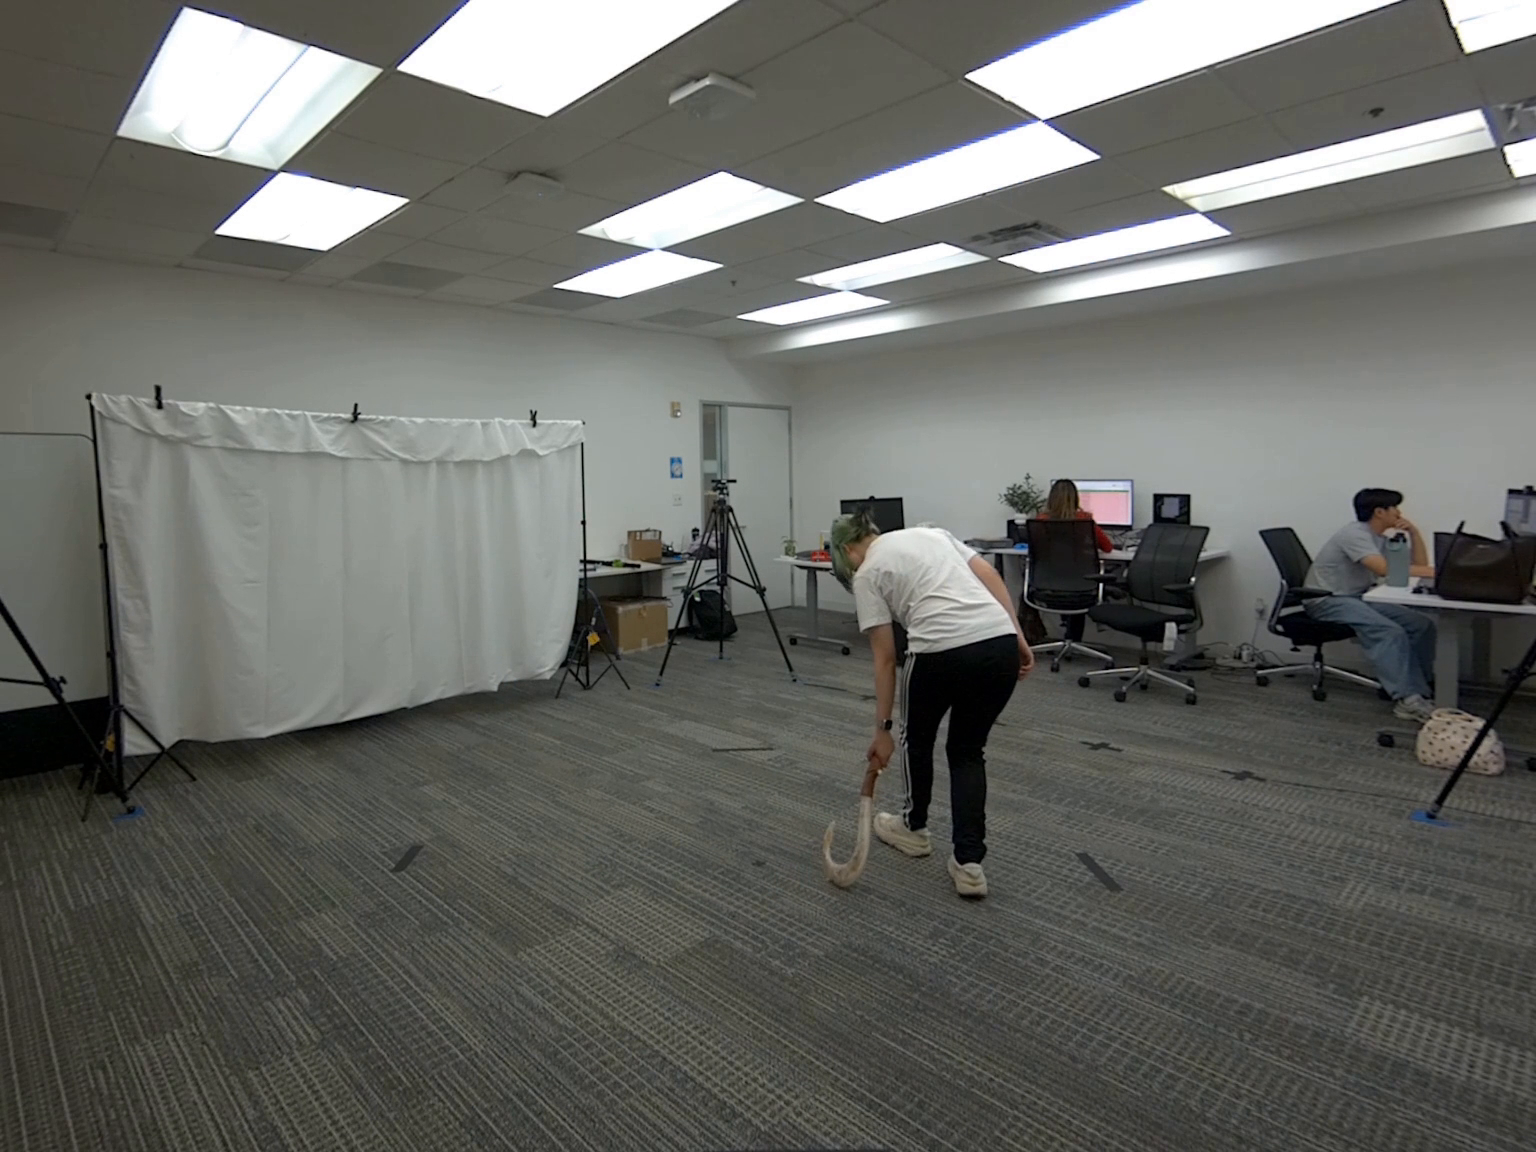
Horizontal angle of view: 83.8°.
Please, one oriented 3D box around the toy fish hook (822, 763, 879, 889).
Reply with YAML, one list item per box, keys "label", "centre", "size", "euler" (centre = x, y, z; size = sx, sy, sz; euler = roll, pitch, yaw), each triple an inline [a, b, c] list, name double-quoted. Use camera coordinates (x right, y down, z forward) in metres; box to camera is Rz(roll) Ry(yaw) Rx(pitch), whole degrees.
- label: "toy fish hook"
  centre: [0.304, 0.822, 2.999]
  size: [0.047, 0.511, 0.230]
  euler: [29, -20, -32]
